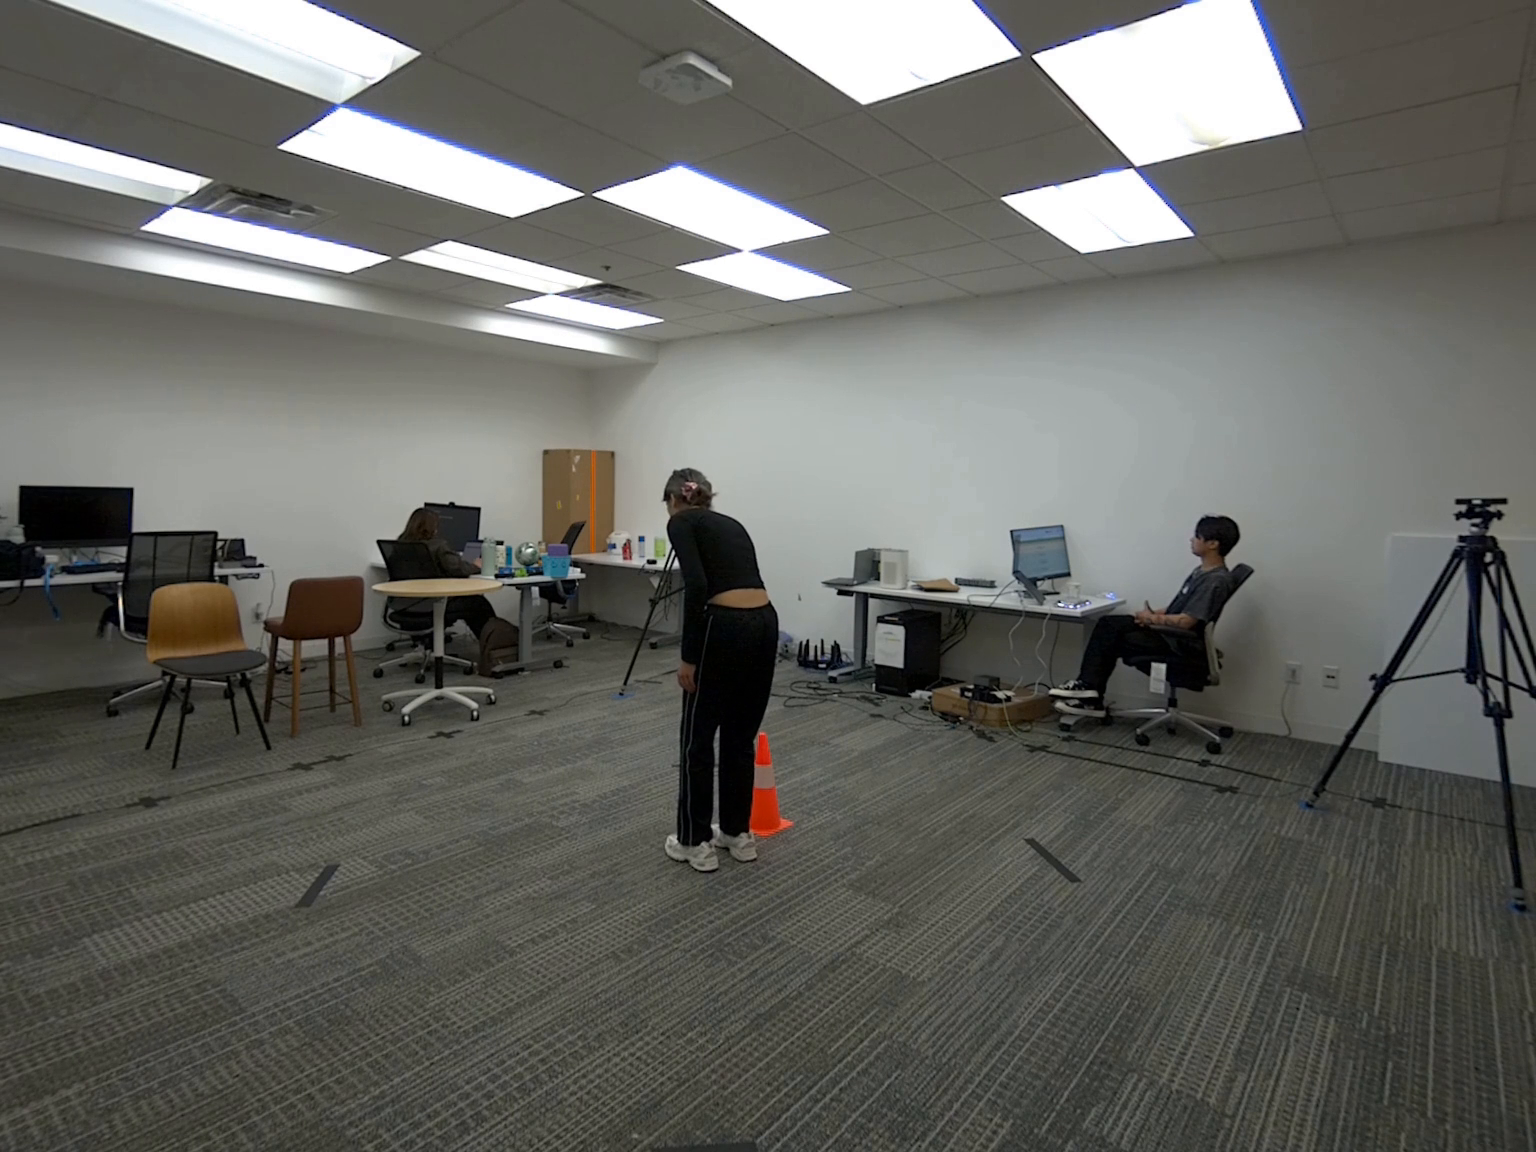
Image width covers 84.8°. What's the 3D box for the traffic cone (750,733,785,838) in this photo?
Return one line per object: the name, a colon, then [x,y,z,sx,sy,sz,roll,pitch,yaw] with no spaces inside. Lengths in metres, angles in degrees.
traffic cone: [-0.033,0.843,3.544,0.197,0.382,0.212,0,4,-38]
